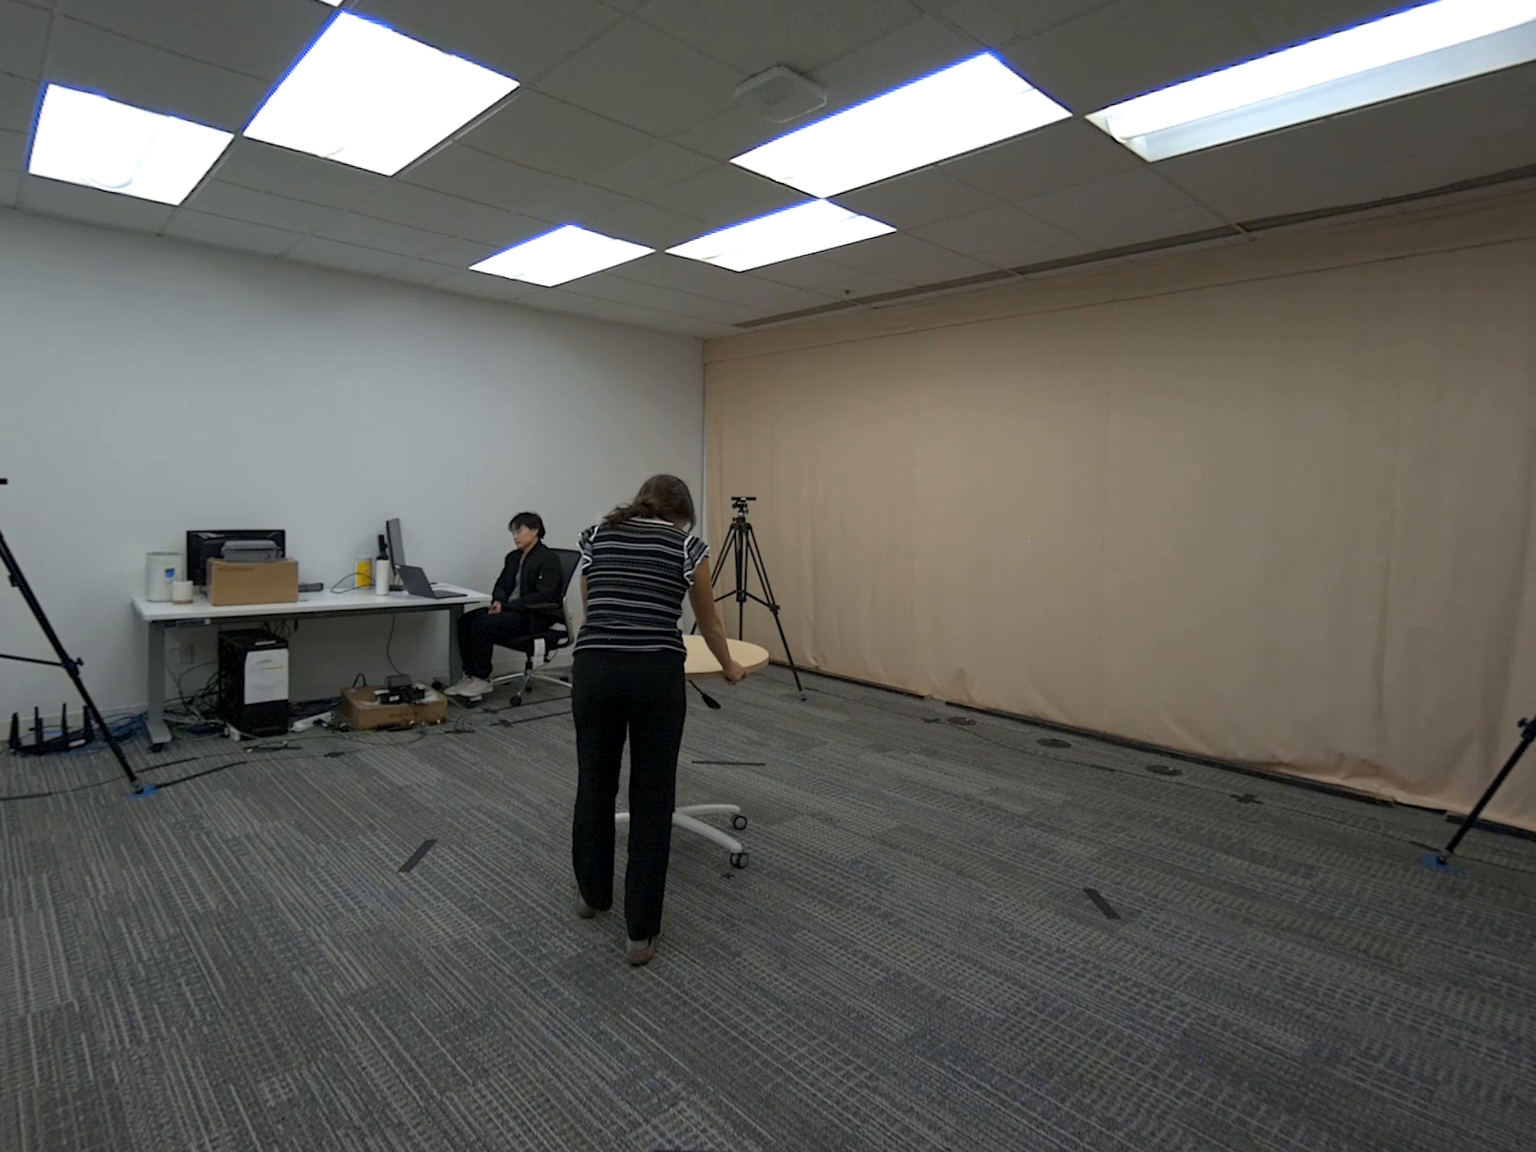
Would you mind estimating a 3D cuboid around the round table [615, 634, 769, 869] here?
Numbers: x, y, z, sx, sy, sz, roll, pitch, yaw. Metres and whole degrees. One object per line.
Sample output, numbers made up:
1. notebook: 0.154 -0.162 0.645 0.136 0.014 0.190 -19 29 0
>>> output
1. round table: -0.388 0.694 3.351 0.763 0.791 0.767 1 5 -1
